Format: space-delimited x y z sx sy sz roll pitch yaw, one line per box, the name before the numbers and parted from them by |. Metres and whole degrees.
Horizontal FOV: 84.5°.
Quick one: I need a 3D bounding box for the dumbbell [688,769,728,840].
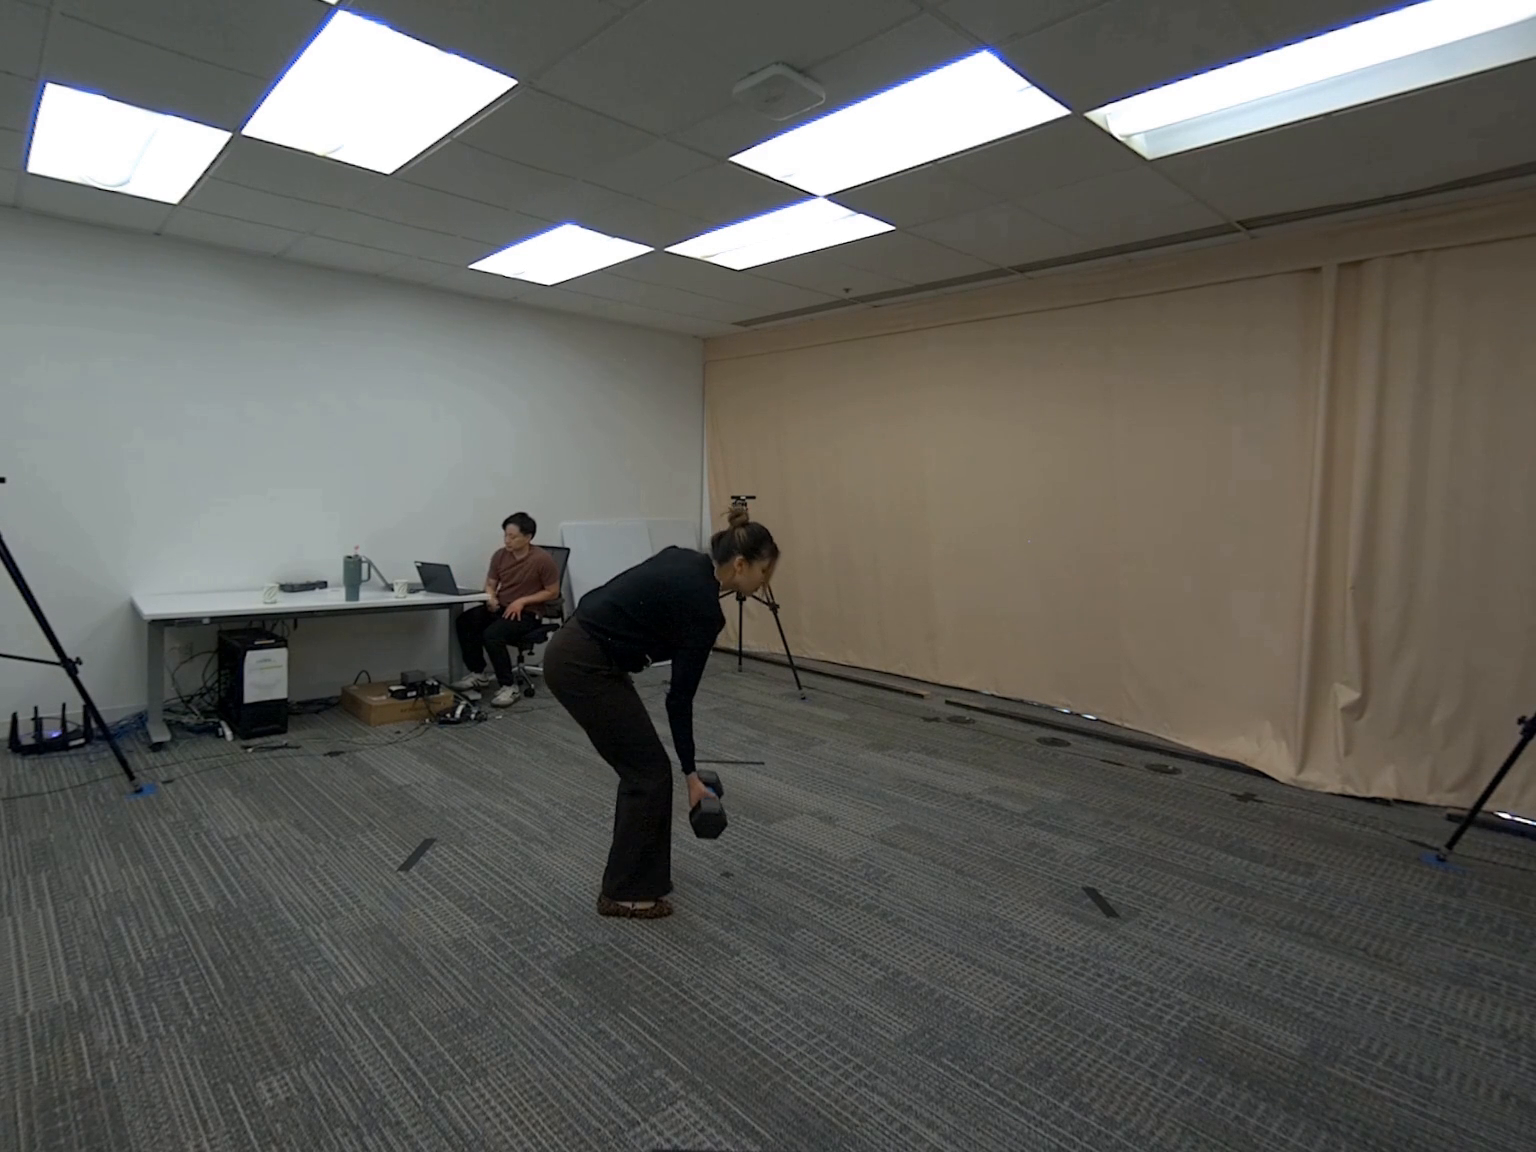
dumbbell | -0.206 0.745 2.760 0.107 0.123 0.297 37 5 -13
